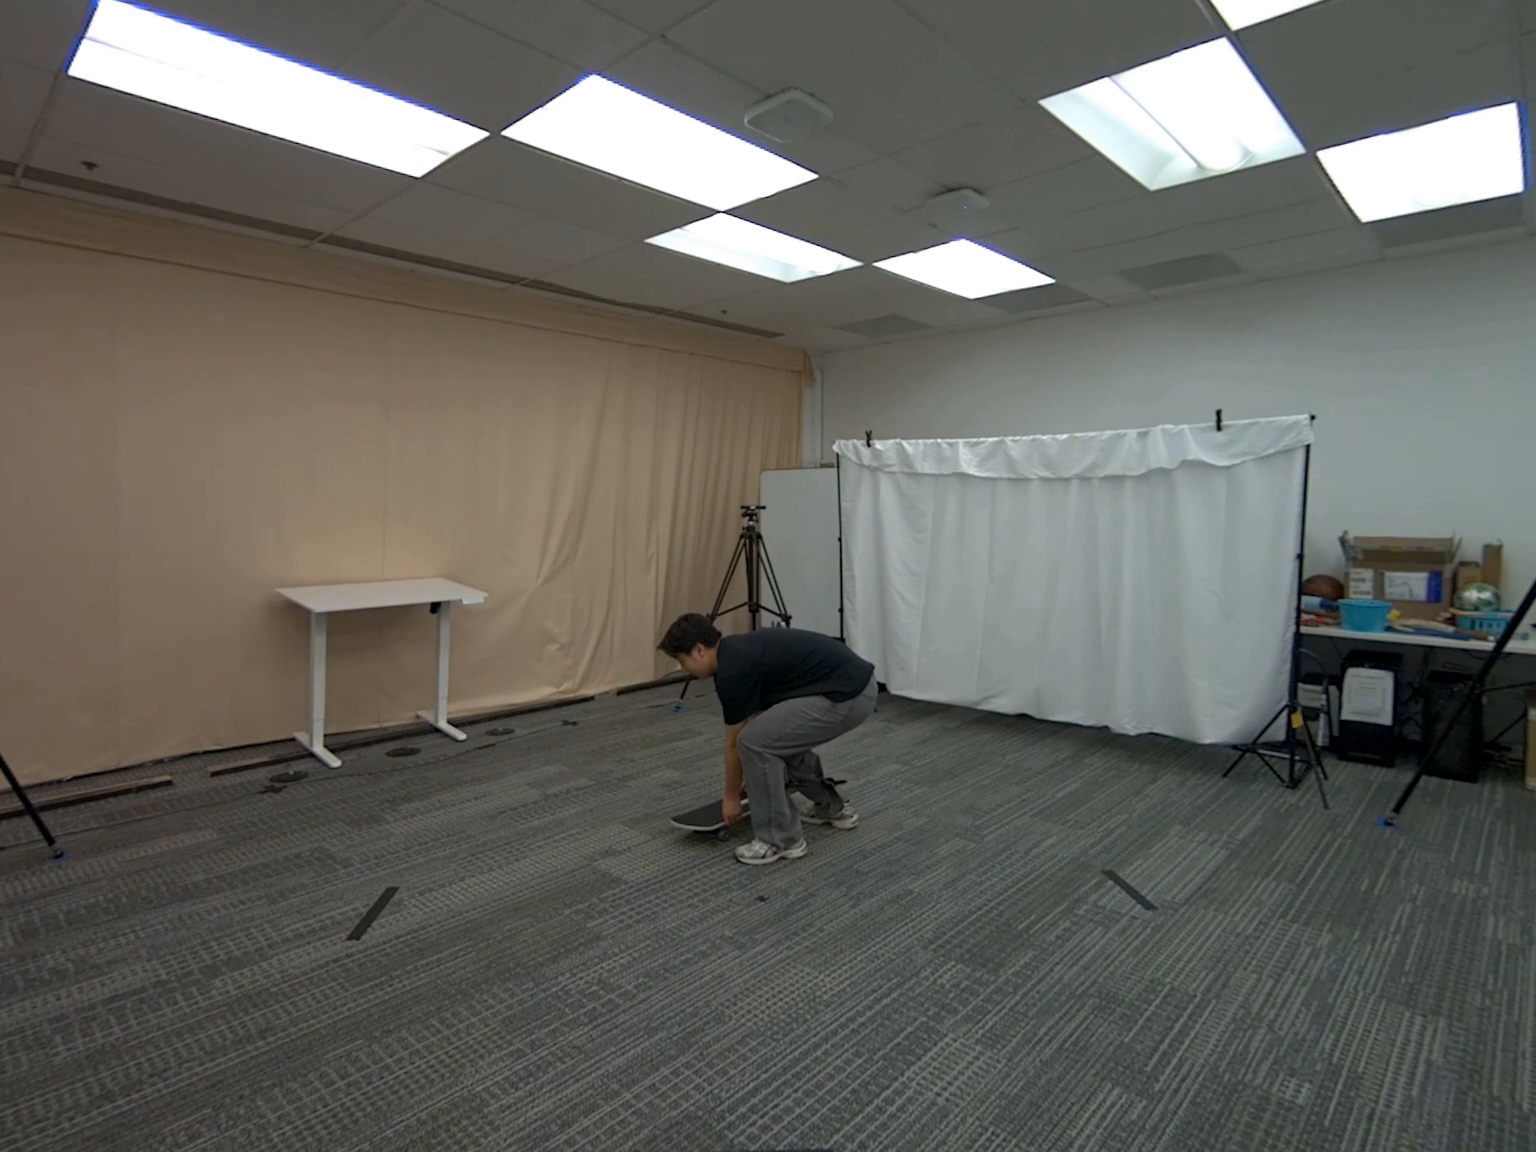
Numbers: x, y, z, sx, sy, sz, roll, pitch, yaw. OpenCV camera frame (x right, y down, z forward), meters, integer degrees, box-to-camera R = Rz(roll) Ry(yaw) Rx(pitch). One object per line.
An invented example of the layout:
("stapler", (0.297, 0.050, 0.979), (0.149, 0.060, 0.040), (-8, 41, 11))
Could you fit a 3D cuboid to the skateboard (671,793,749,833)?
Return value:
("skateboard", (-0.119, 1.025, 3.691), (0.200, 0.110, 0.761), (2, 5, 43))
